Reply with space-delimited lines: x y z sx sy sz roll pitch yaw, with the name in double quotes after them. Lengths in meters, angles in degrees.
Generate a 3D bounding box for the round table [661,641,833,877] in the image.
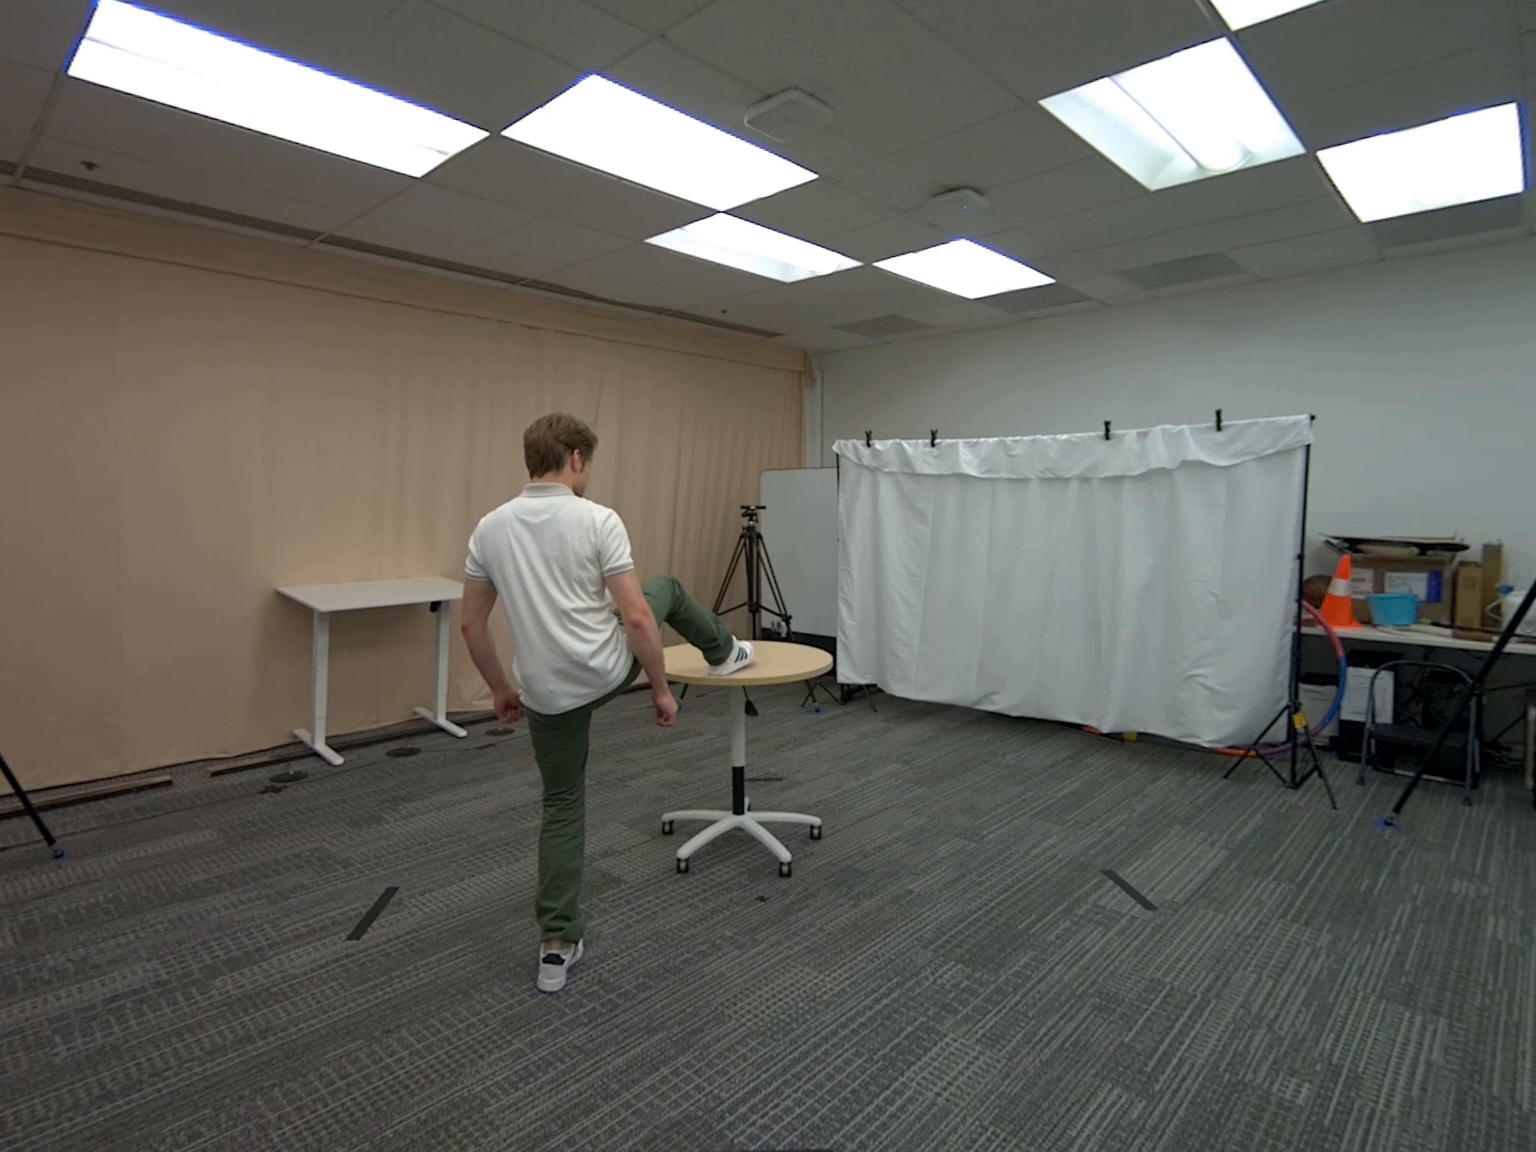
-0.114 0.719 3.420 0.763 0.792 0.767 -1 4 -2 "round table"
